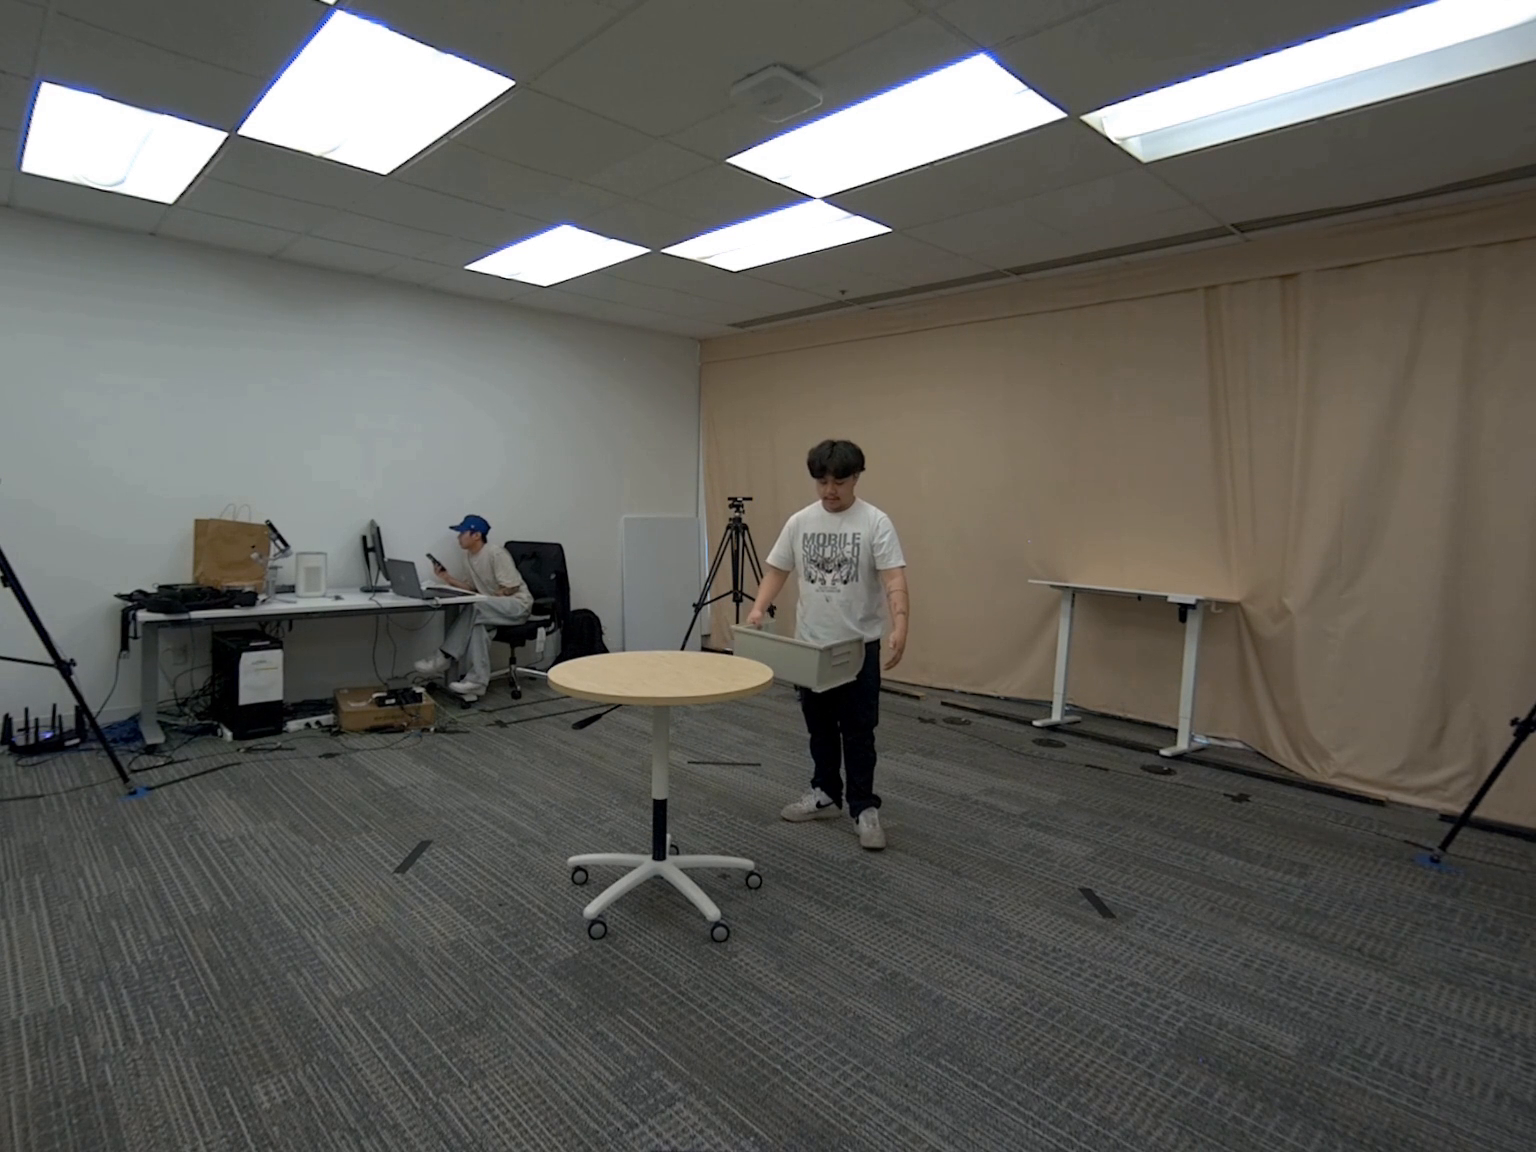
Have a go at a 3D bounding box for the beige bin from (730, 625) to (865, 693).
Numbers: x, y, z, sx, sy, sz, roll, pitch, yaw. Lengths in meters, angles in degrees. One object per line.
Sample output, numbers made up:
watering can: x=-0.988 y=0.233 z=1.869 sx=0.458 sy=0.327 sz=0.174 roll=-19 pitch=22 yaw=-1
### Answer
beige bin: x=0.115 y=0.303 z=3.386 sx=0.433 sy=0.188 sz=0.370 roll=9 pitch=9 yaw=33
